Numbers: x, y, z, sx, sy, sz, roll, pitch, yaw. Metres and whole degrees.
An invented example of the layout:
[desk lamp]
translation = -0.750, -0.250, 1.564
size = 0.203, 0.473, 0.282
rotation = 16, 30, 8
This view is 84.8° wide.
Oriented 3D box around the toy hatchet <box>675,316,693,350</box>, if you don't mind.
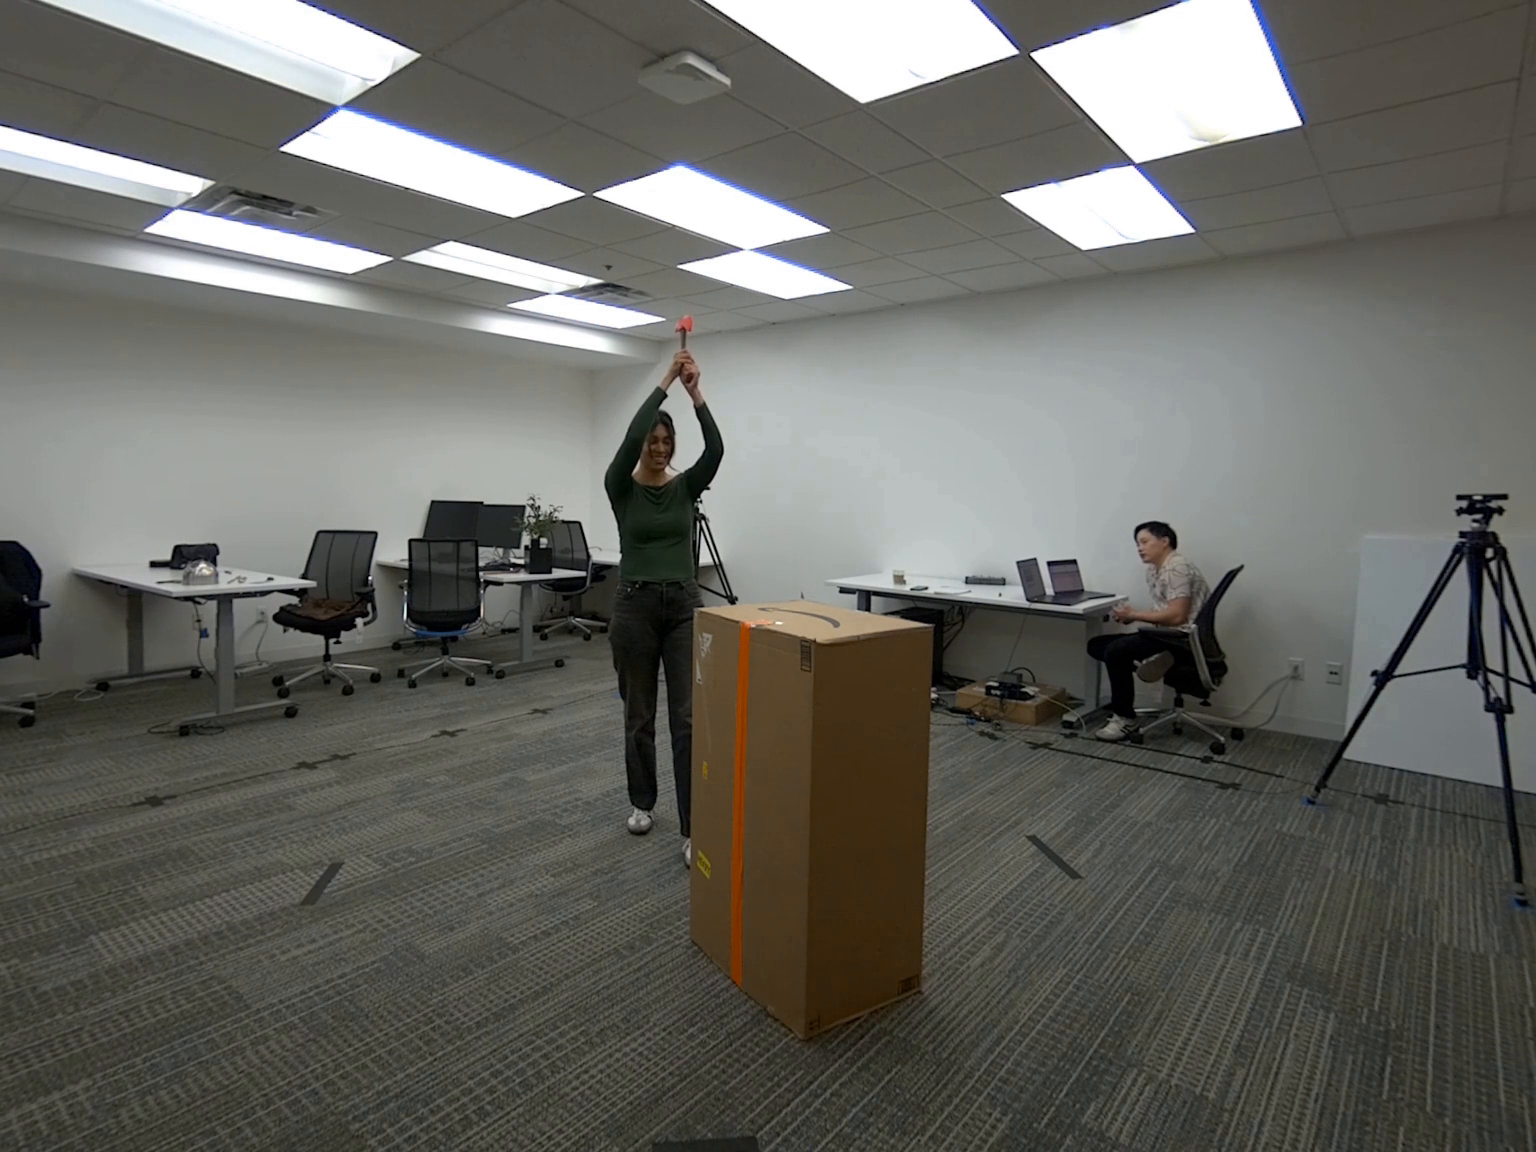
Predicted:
[toy hatchet]
translation = -0.303, -0.850, 3.140
size = 0.029, 0.278, 0.131
rotation = 6, -33, -33
